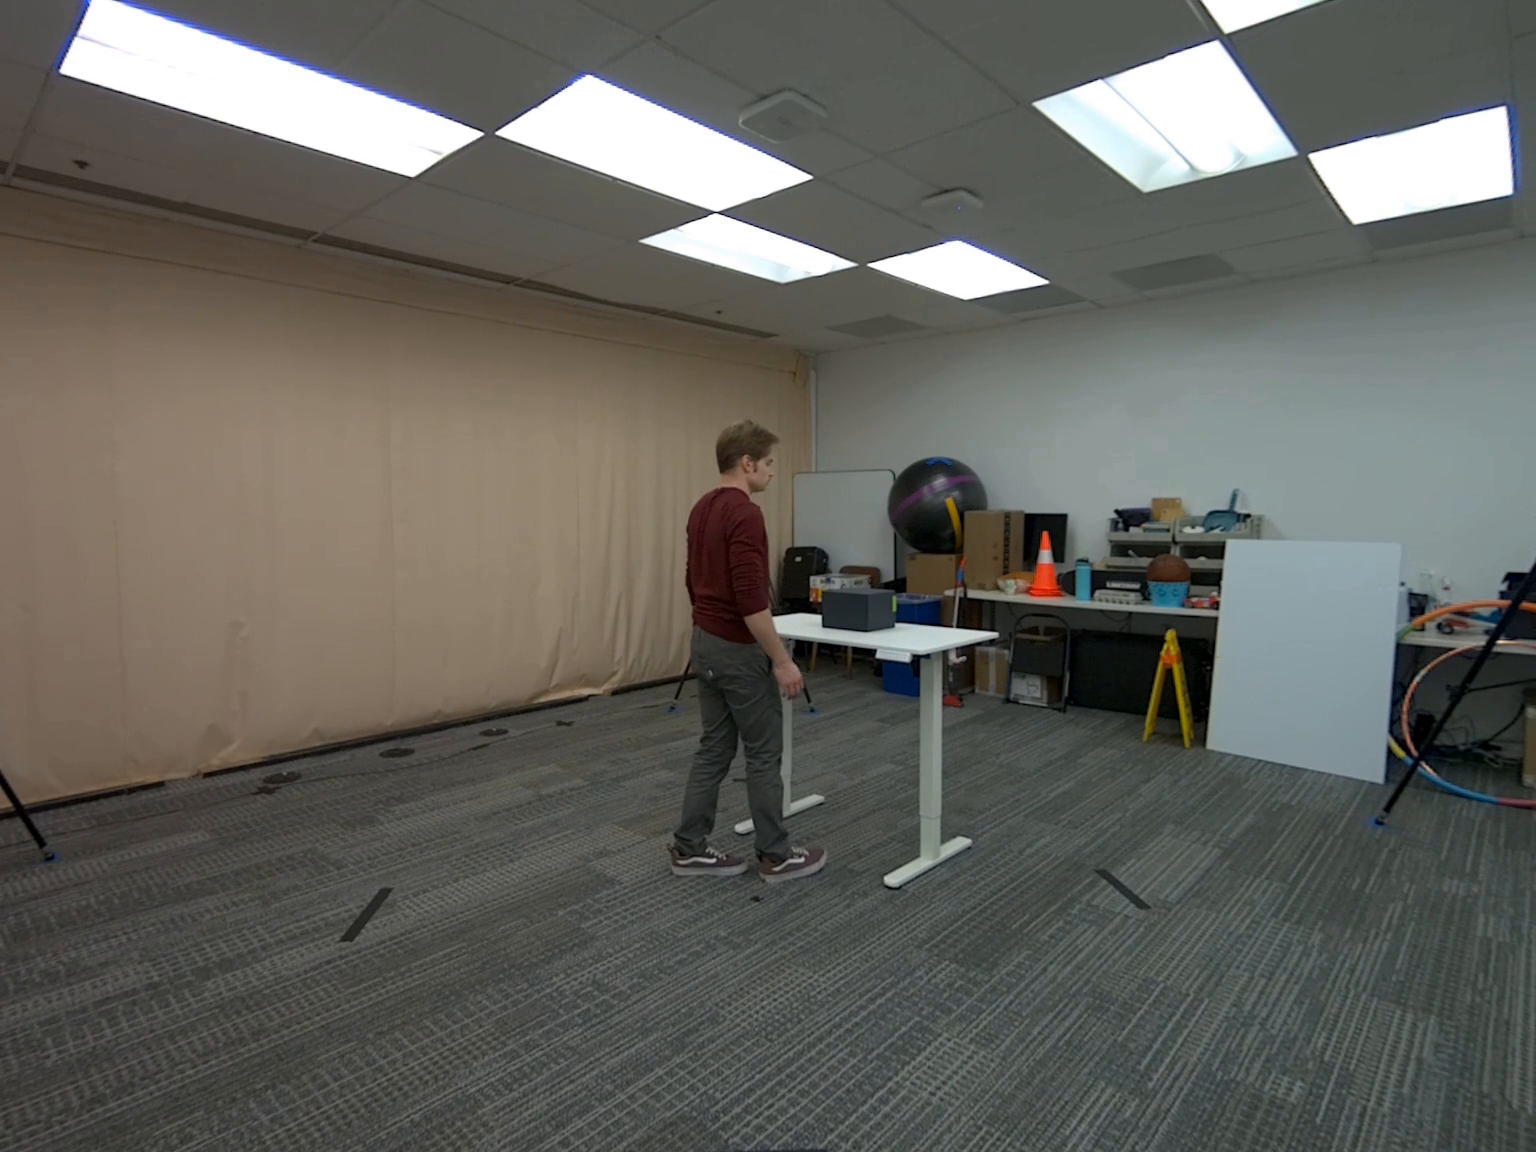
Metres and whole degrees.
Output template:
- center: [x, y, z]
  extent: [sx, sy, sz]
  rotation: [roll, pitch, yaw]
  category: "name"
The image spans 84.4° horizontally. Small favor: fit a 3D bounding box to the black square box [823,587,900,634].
- center: [0.385, 0.137, 3.516]
  extent: [0.235, 0.155, 0.210]
  rotation: [3, 4, 42]
  category: "black square box"
